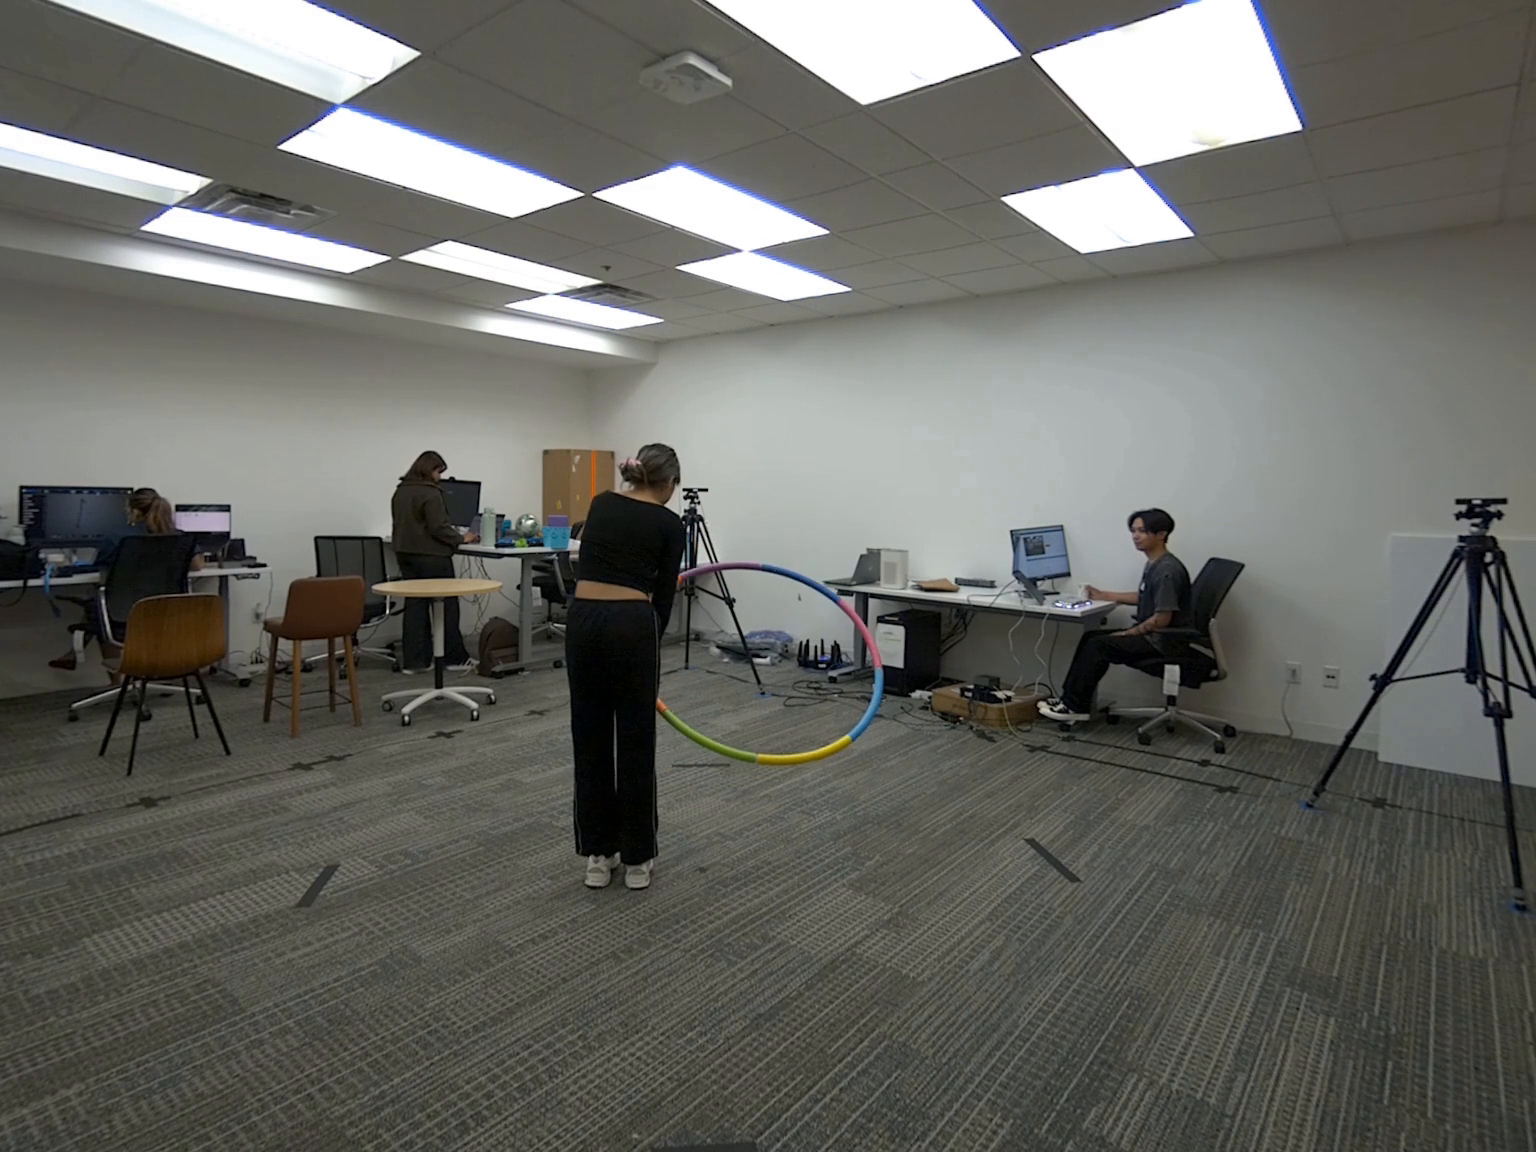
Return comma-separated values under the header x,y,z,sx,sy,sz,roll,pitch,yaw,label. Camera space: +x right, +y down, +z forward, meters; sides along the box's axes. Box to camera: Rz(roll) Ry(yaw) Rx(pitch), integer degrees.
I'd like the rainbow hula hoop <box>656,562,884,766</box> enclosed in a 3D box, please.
x,y,z,sx,sy,sz,roll,pitch,yaw,label
-0.044,0.301,3.325,0.972,0.035,1.008,4,44,-6,rainbow hula hoop
